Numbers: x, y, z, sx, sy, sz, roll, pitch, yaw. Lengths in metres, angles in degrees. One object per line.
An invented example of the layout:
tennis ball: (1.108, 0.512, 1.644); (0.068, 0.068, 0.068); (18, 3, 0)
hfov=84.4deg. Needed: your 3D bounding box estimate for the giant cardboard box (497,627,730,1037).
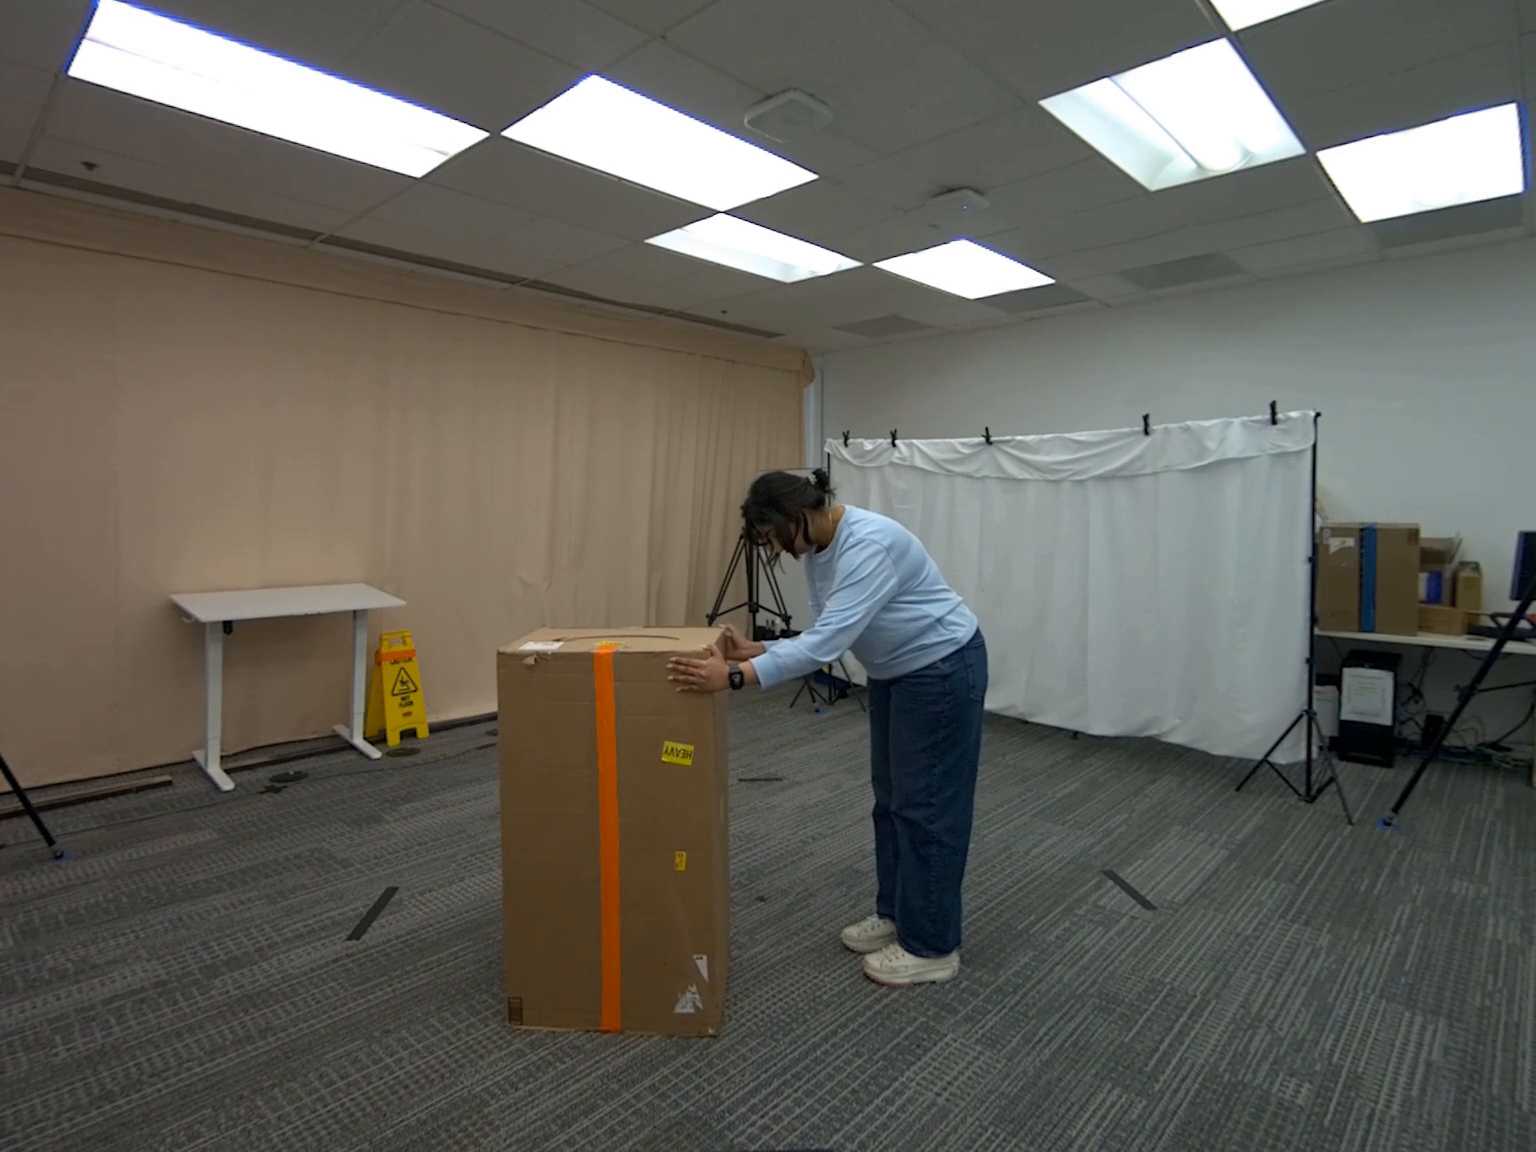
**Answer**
giant cardboard box: (-0.414, 0.691, 2.410); (0.581, 1.024, 0.424); (0, 3, 5)
